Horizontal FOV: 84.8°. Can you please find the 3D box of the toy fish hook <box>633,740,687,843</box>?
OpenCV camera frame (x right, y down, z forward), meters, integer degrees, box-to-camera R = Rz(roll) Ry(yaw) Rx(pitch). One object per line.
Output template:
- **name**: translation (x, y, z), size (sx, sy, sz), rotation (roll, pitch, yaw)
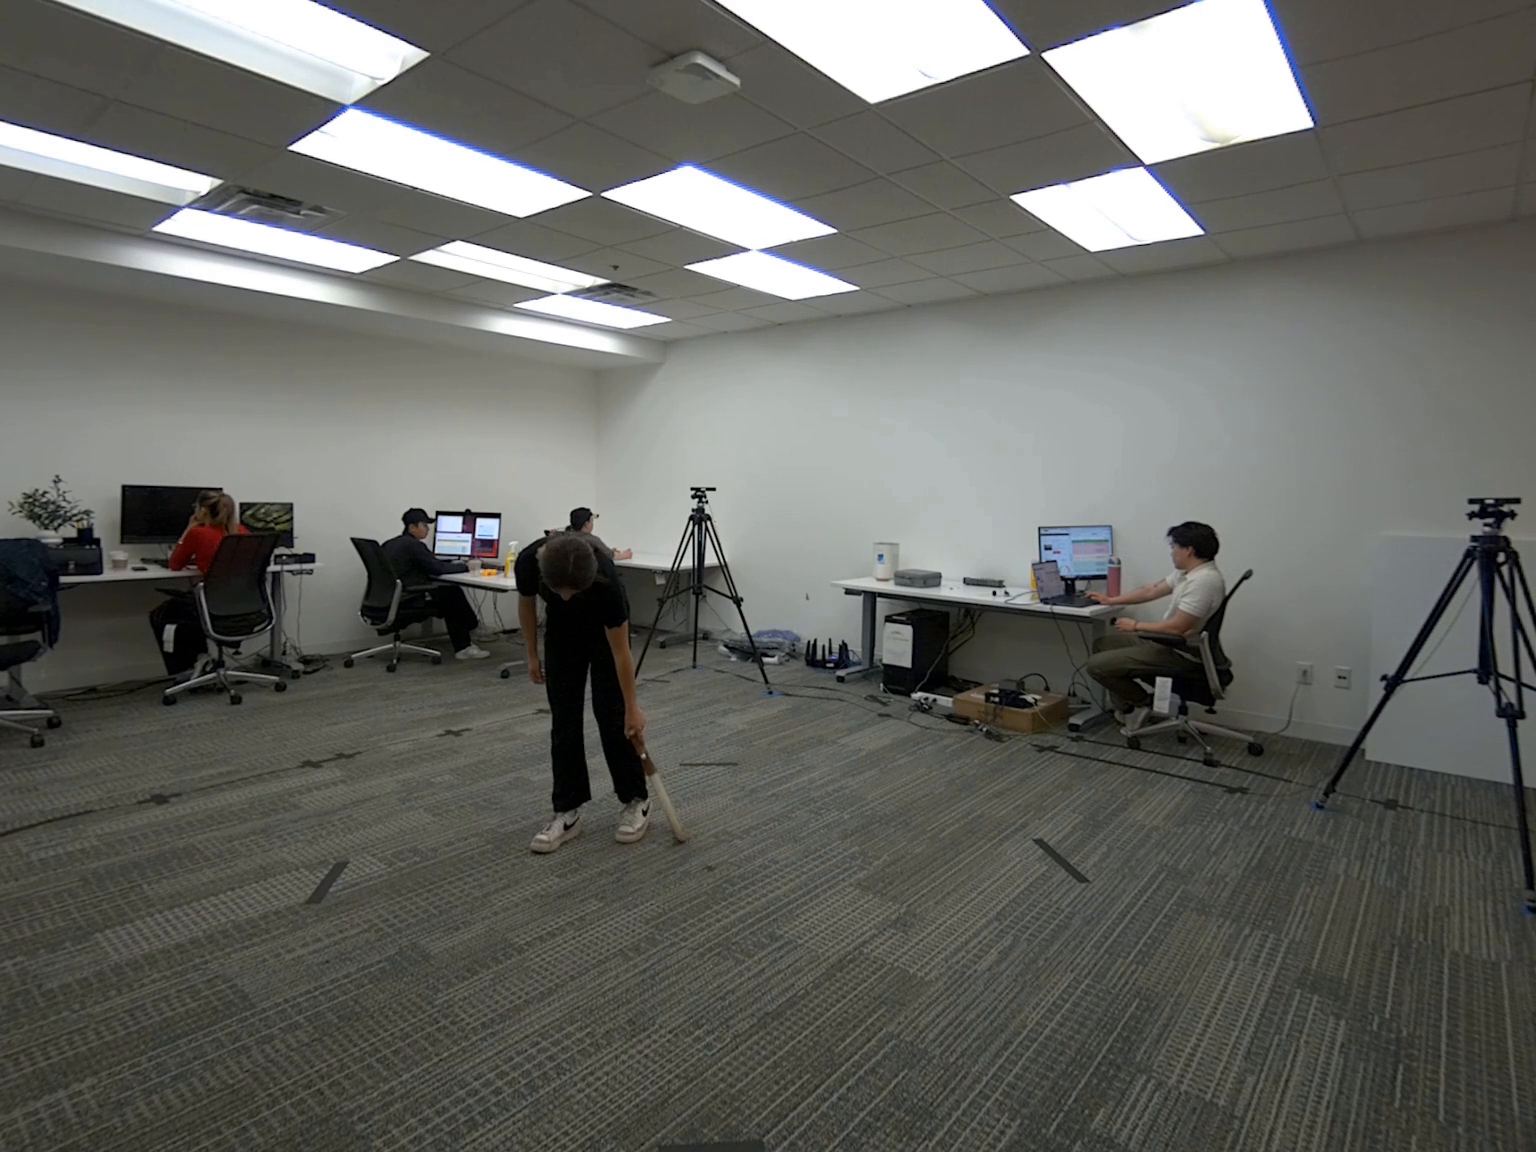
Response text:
- **toy fish hook**: translation (-0.457, 0.813, 3.359), size (0.048, 0.502, 0.229), rotation (-25, 8, -14)
